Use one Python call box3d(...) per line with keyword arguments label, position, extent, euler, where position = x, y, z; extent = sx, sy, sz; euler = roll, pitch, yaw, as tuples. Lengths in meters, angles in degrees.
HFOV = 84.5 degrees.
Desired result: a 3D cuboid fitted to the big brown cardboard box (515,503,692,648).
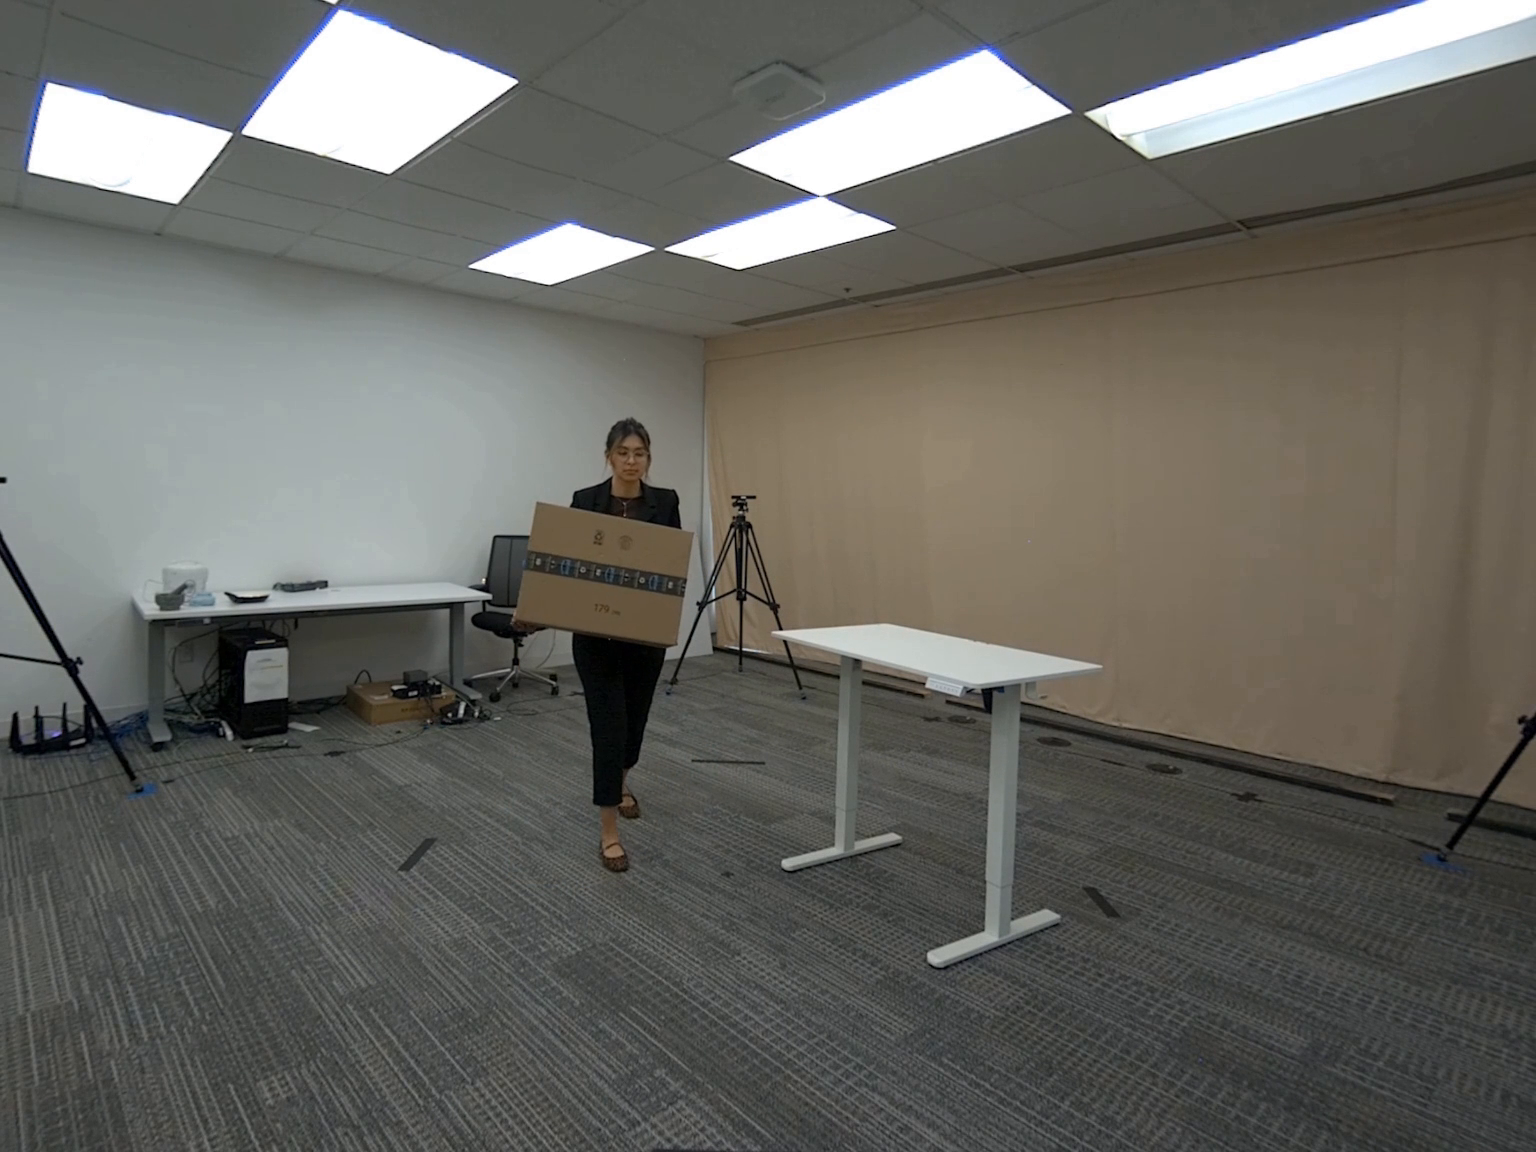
box3d(label="big brown cardboard box", position=(-0.590, 0.001, 3.030), extent=(0.582, 0.420, 0.234), euler=(11, -10, -13))
